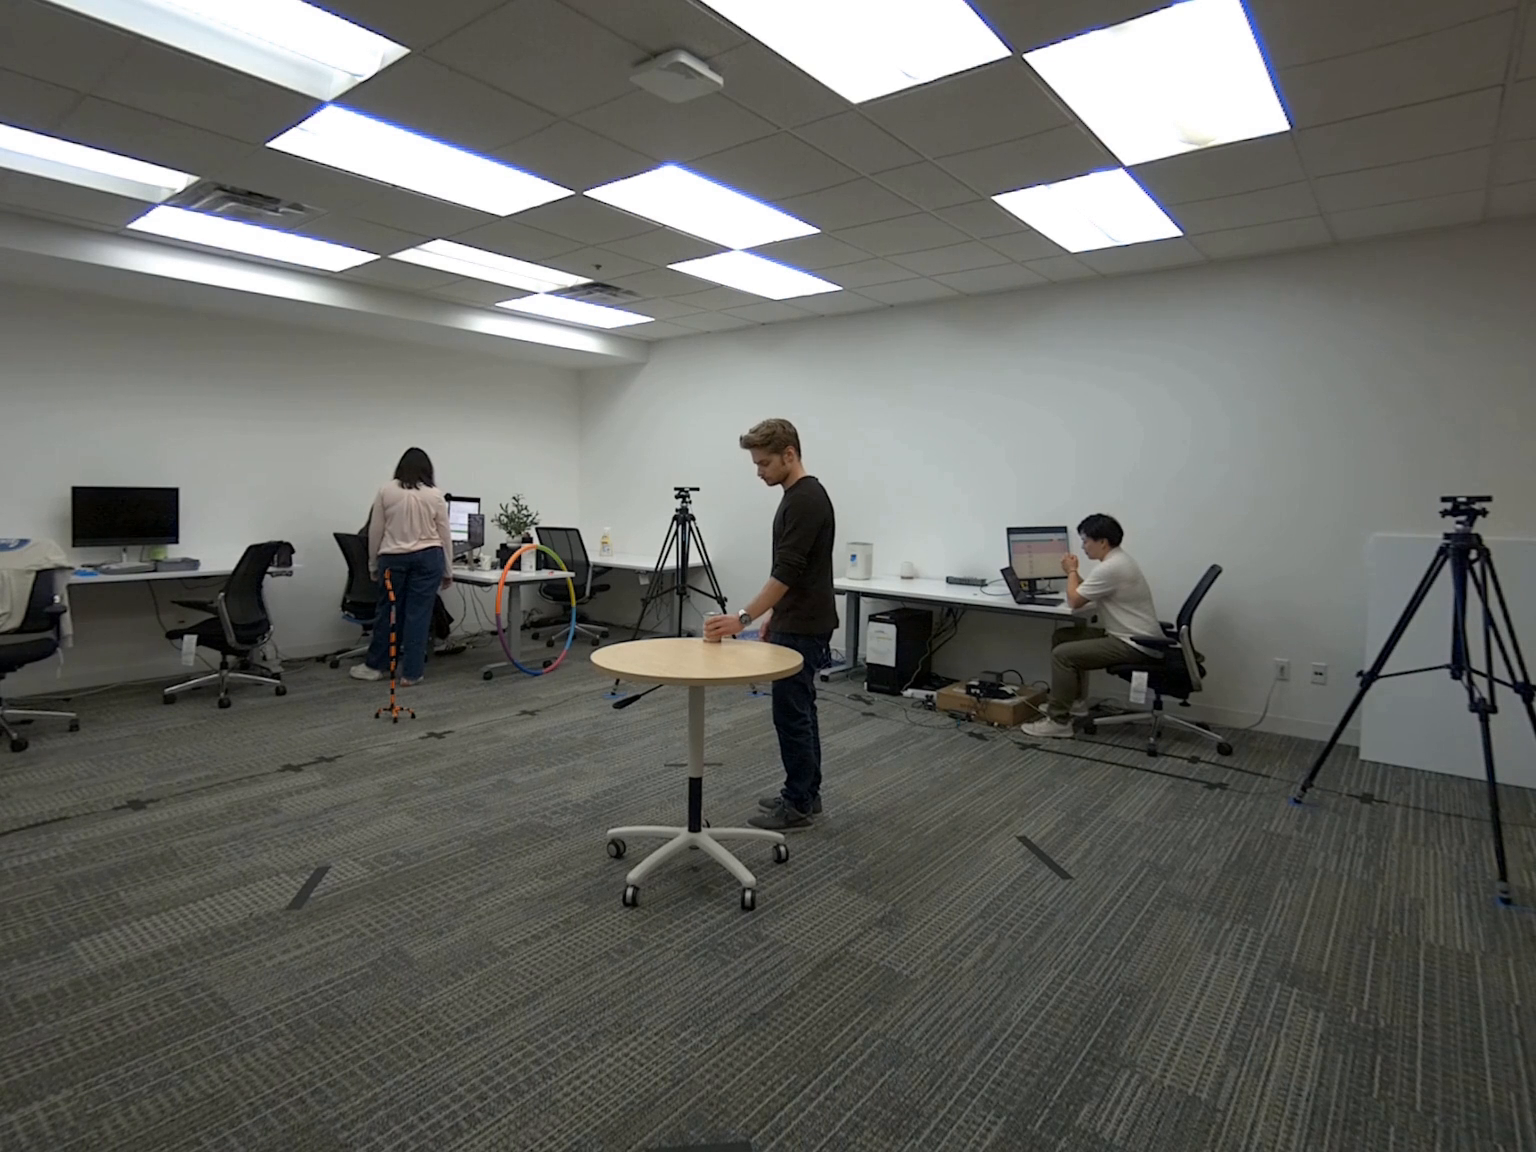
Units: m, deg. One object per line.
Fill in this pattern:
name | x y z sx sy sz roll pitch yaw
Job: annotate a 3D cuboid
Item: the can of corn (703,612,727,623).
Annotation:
can of corn | -0.228 0.200 3.381 0.074 0.111 0.074 5 2 -2
